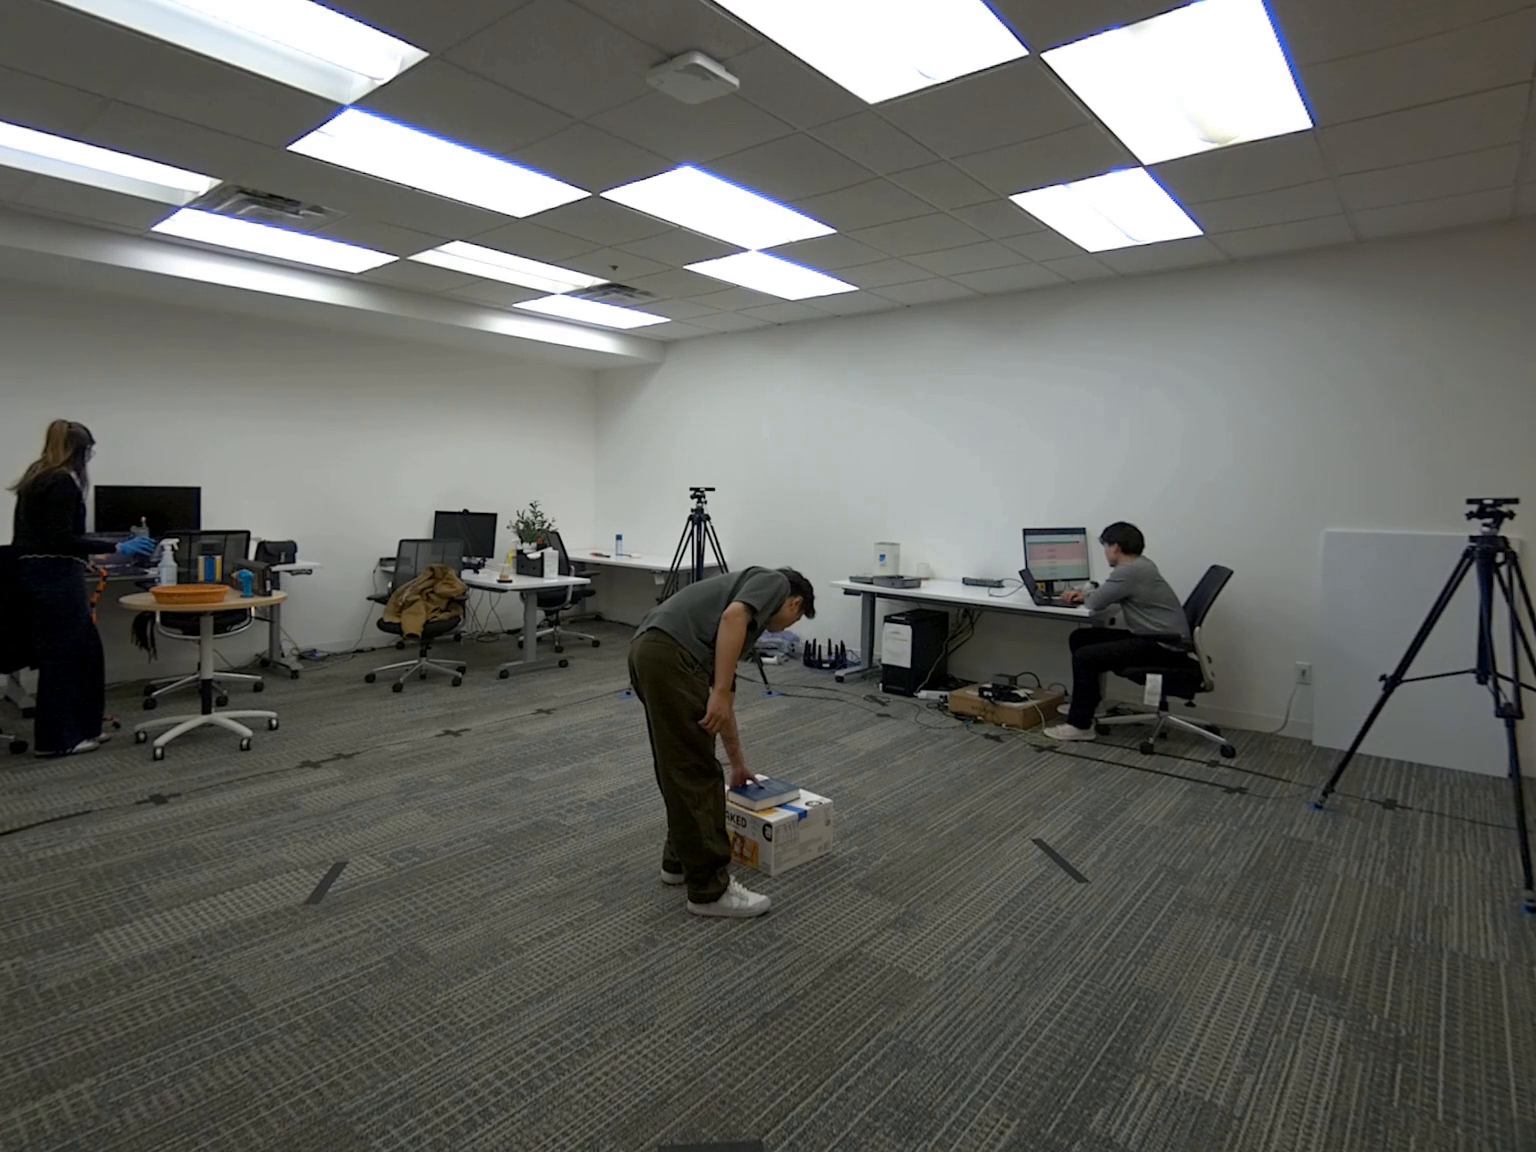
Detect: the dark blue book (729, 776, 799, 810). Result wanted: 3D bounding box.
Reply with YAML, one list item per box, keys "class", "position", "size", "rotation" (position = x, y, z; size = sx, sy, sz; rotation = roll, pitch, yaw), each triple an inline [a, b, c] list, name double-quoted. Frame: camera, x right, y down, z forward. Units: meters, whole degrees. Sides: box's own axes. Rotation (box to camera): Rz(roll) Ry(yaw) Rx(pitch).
- class: "dark blue book"
  position: [-0.018, 0.841, 3.285]
  size: [0.238, 0.045, 0.169]
  rotation: [-4, 7, -43]
